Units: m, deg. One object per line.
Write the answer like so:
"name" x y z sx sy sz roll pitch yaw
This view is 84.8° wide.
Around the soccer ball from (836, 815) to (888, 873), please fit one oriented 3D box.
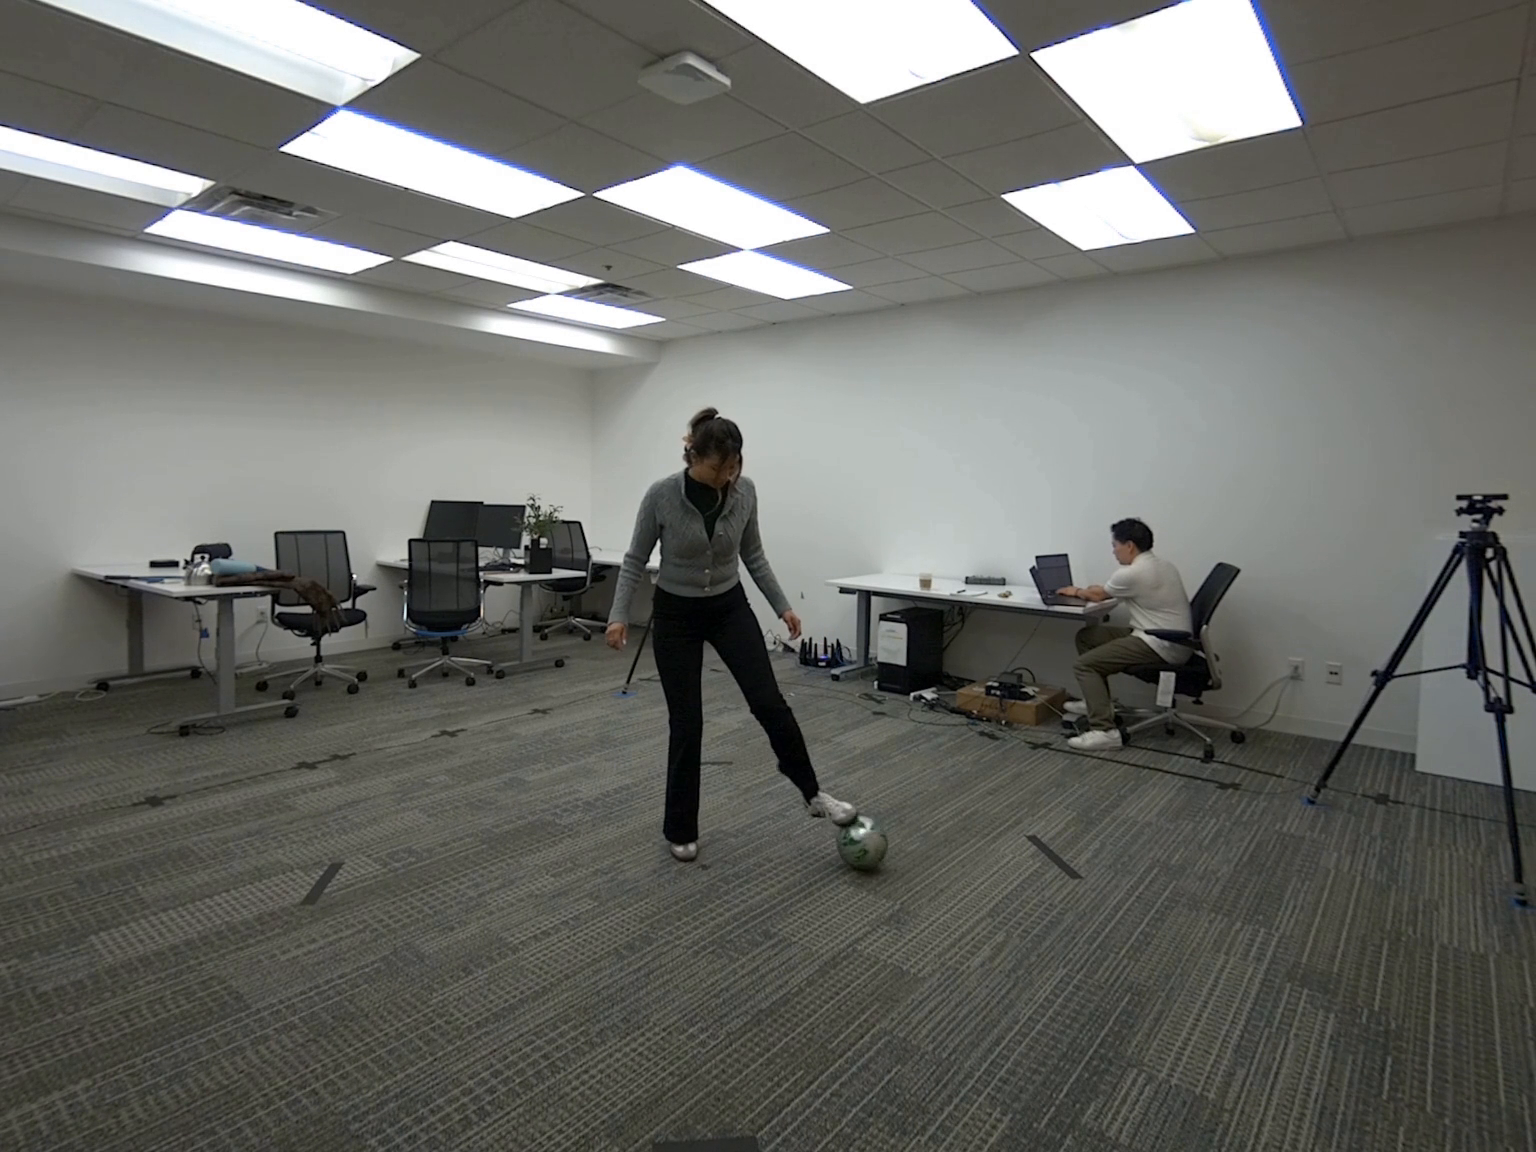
"soccer ball" 0.323 0.983 3.136 0.187 0.187 0.188 1 4 -2
